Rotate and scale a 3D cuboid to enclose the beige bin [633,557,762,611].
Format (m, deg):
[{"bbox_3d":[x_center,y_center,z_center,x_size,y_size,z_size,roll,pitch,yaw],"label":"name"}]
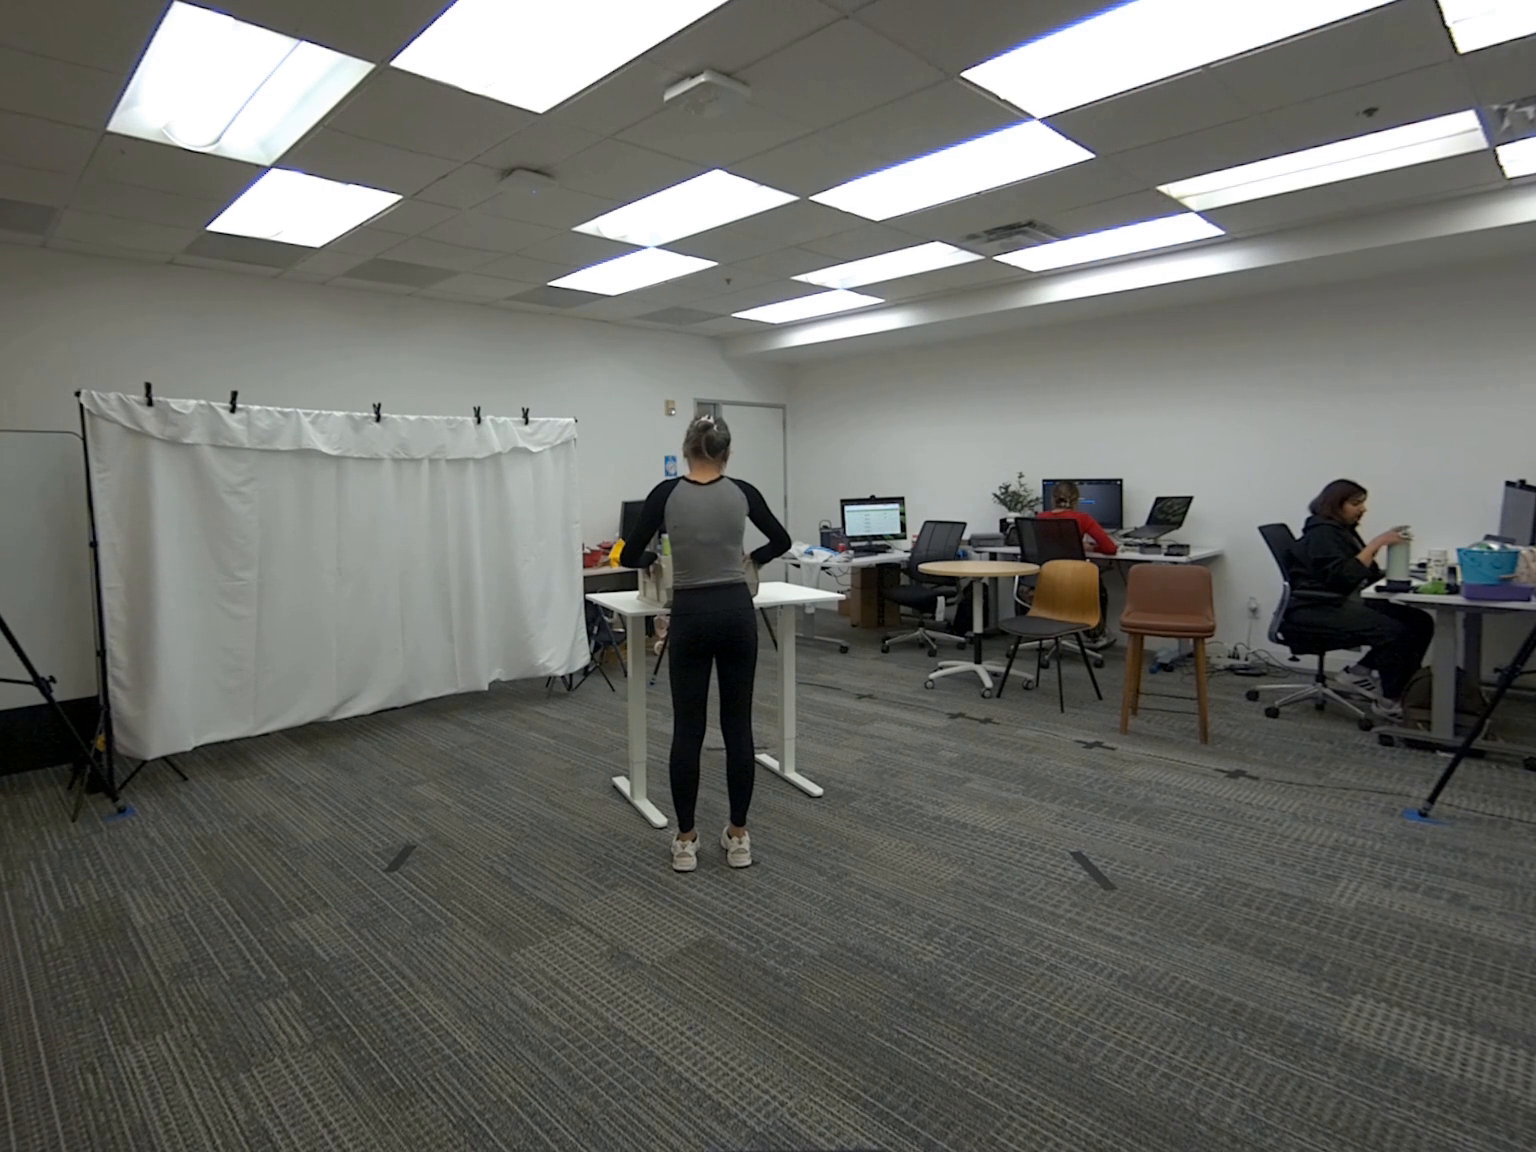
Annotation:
[{"bbox_3d":[-0.305,0.017,3.606,0.414,0.188,0.386,-3,4,-24],"label":"beige bin"}]
